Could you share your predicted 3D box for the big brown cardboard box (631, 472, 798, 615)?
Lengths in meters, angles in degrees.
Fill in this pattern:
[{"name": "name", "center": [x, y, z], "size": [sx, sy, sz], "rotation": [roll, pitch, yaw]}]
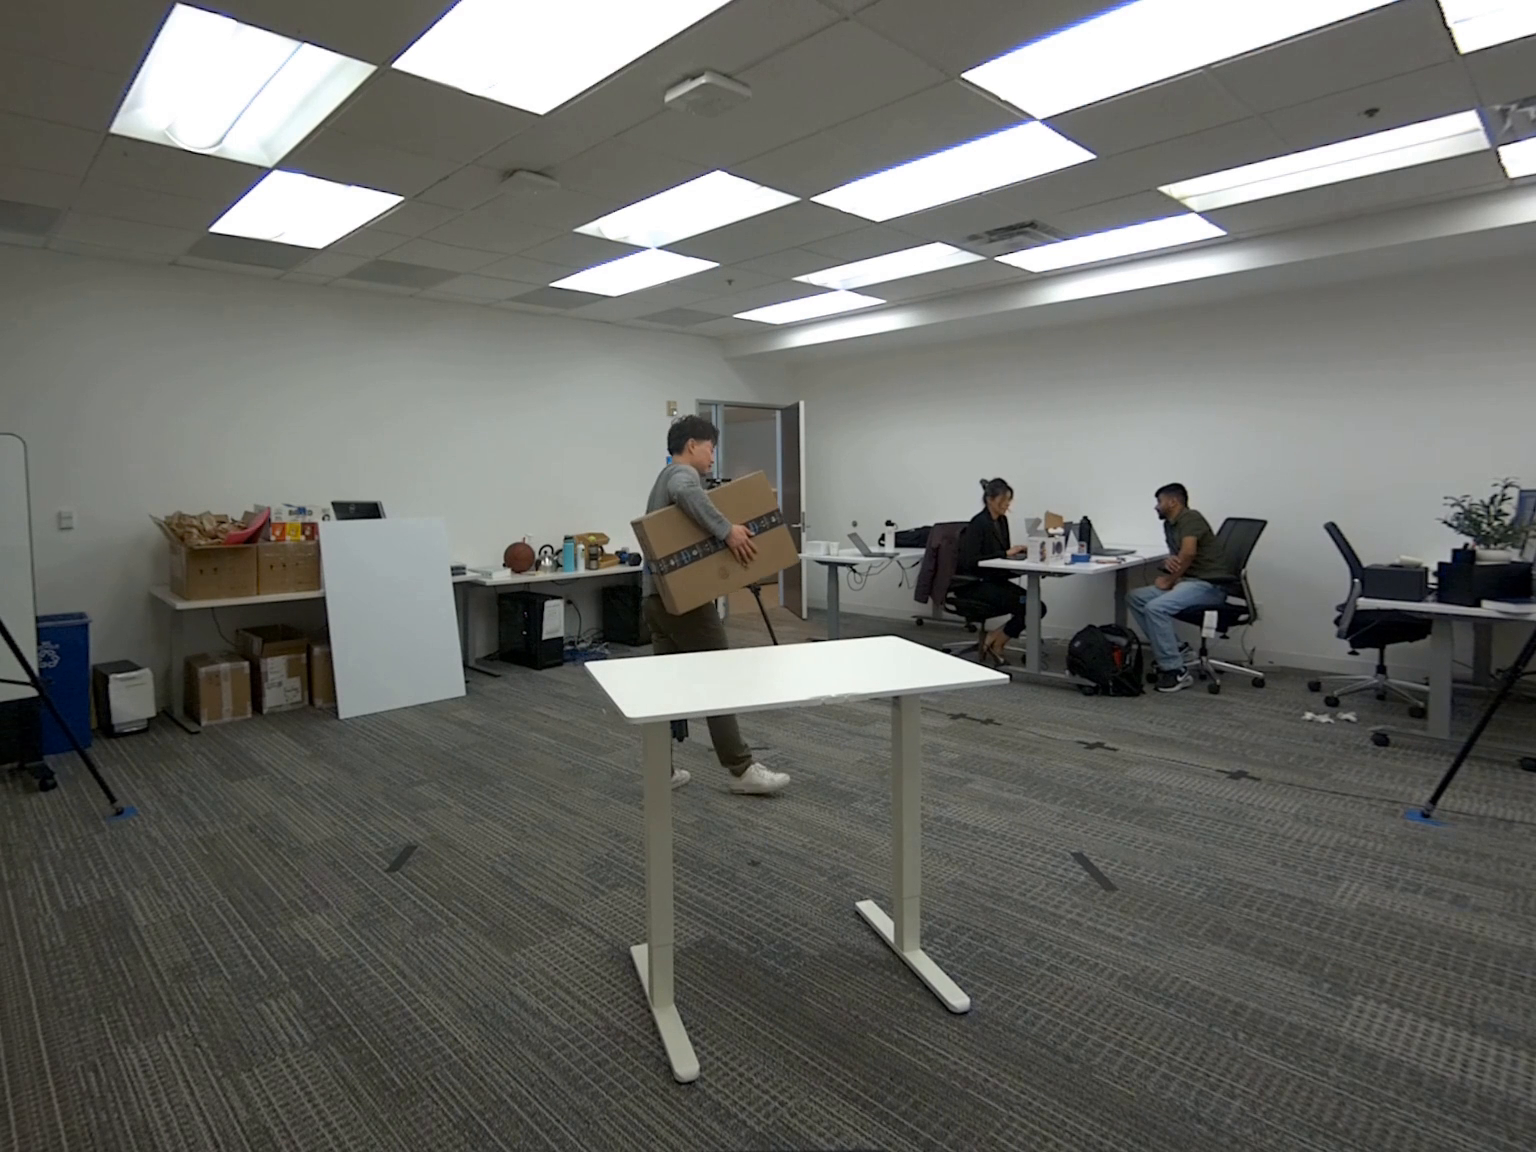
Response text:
[{"name": "big brown cardboard box", "center": [-0.214, -0.136, 3.557], "size": [0.584, 0.416, 0.236], "rotation": [-23, 4, -17]}]
